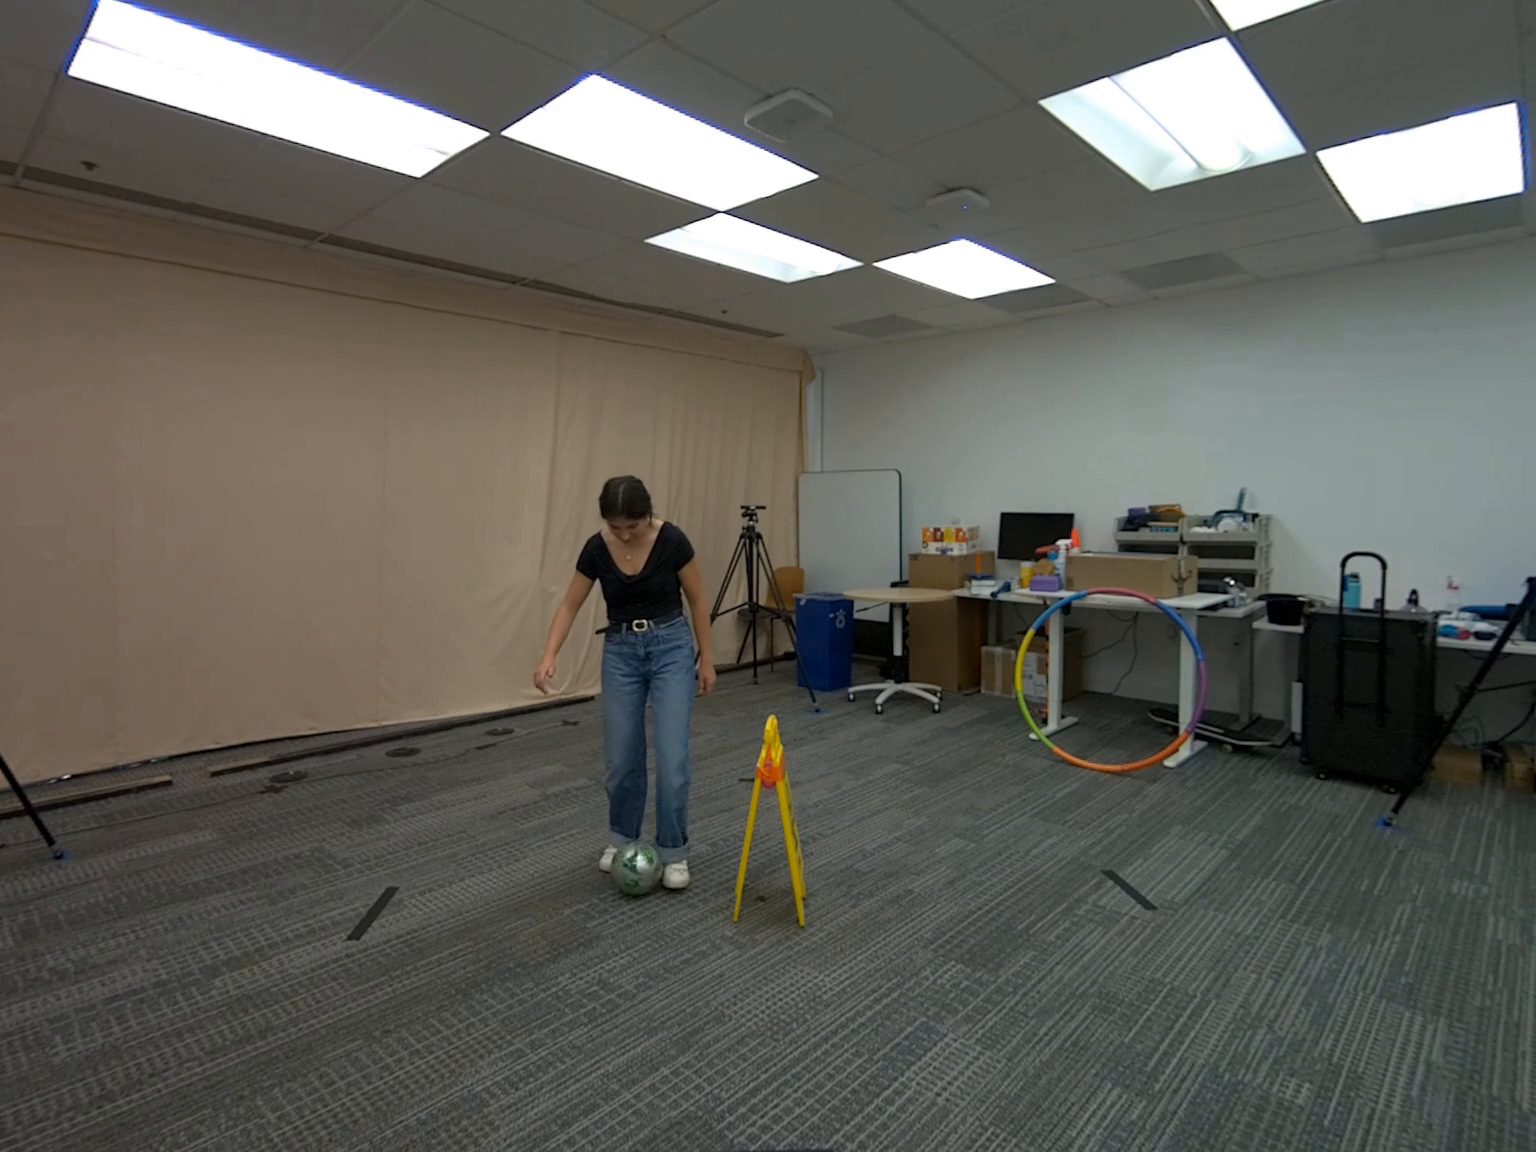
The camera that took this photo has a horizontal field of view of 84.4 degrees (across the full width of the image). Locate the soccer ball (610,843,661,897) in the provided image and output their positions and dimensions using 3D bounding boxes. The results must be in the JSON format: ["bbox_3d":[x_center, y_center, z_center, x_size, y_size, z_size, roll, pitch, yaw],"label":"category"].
[{"bbox_3d":[-0.468,1.052,3.035,0.187,0.187,0.188,0,4,-2],"label":"soccer ball"}]
